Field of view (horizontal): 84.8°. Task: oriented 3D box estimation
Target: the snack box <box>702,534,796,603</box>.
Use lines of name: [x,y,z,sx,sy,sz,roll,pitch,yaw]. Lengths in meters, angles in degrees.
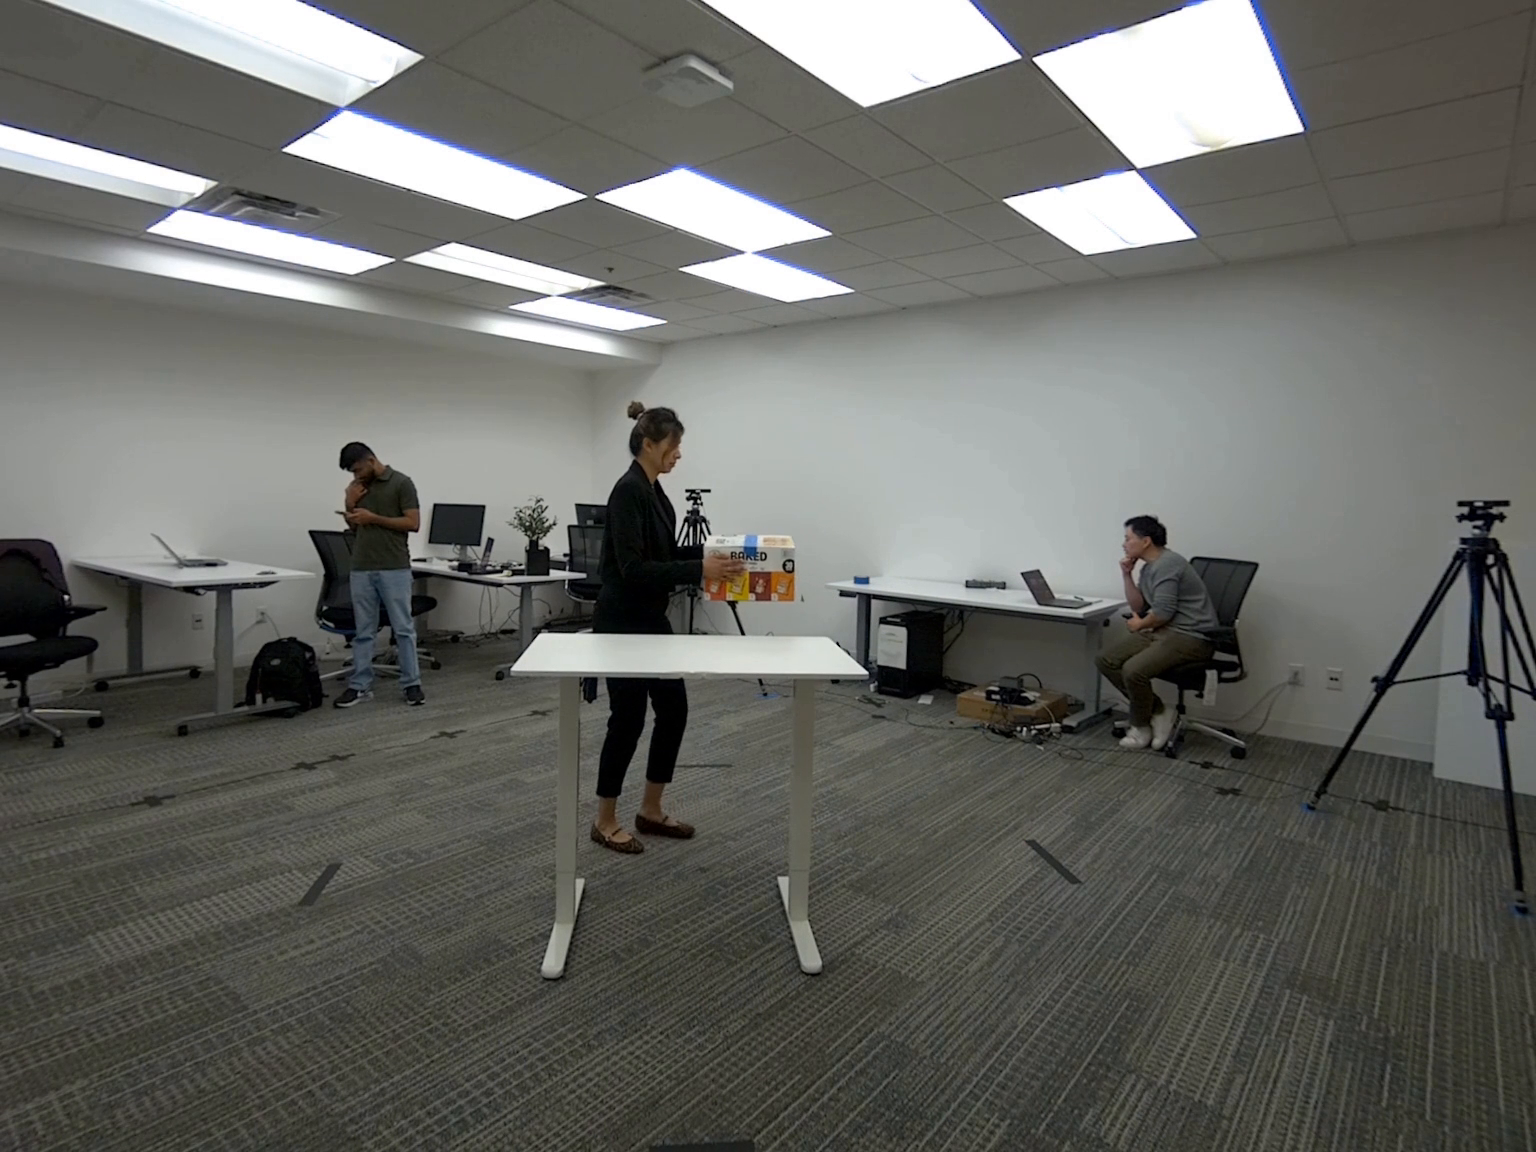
snack box: [-0.079,-0.036,3.336,0.341,0.204,0.407,1,8,1]
